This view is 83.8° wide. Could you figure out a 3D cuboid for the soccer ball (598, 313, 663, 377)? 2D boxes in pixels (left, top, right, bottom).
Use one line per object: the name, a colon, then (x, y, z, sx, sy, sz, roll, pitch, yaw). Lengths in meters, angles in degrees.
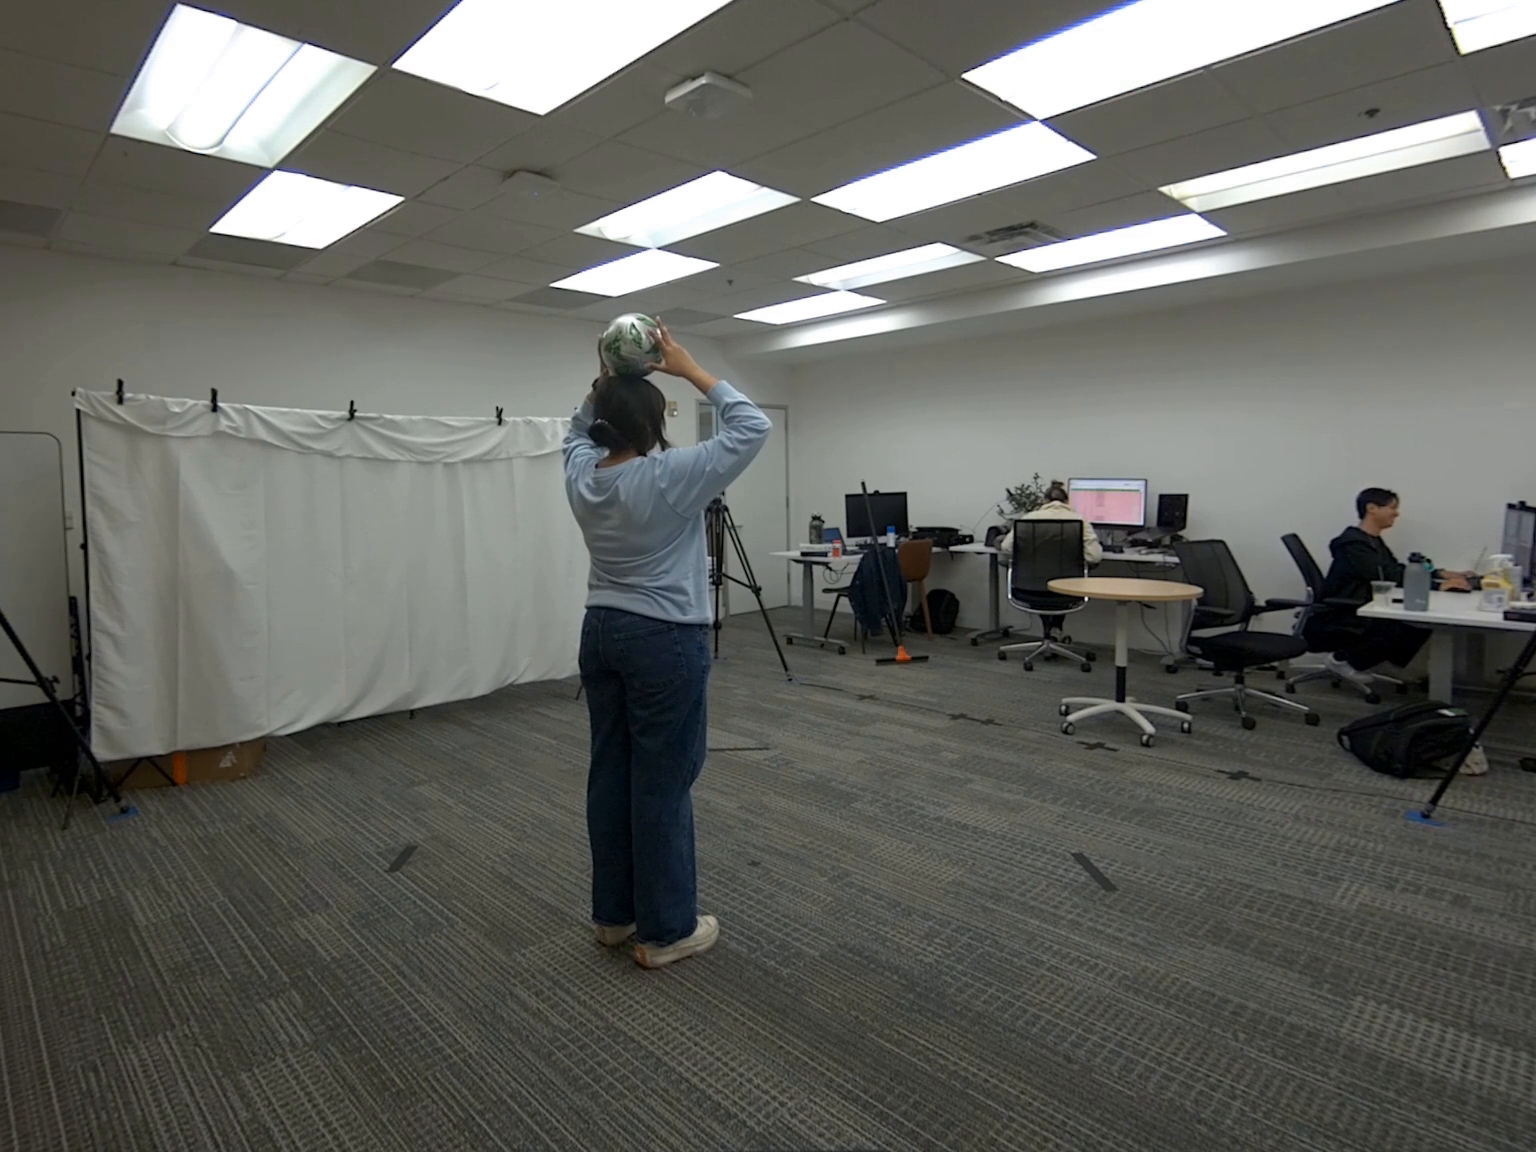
soccer ball: (-0.387, -0.666, 2.482, 0.187, 0.187, 0.188, -1, 5, -2)
